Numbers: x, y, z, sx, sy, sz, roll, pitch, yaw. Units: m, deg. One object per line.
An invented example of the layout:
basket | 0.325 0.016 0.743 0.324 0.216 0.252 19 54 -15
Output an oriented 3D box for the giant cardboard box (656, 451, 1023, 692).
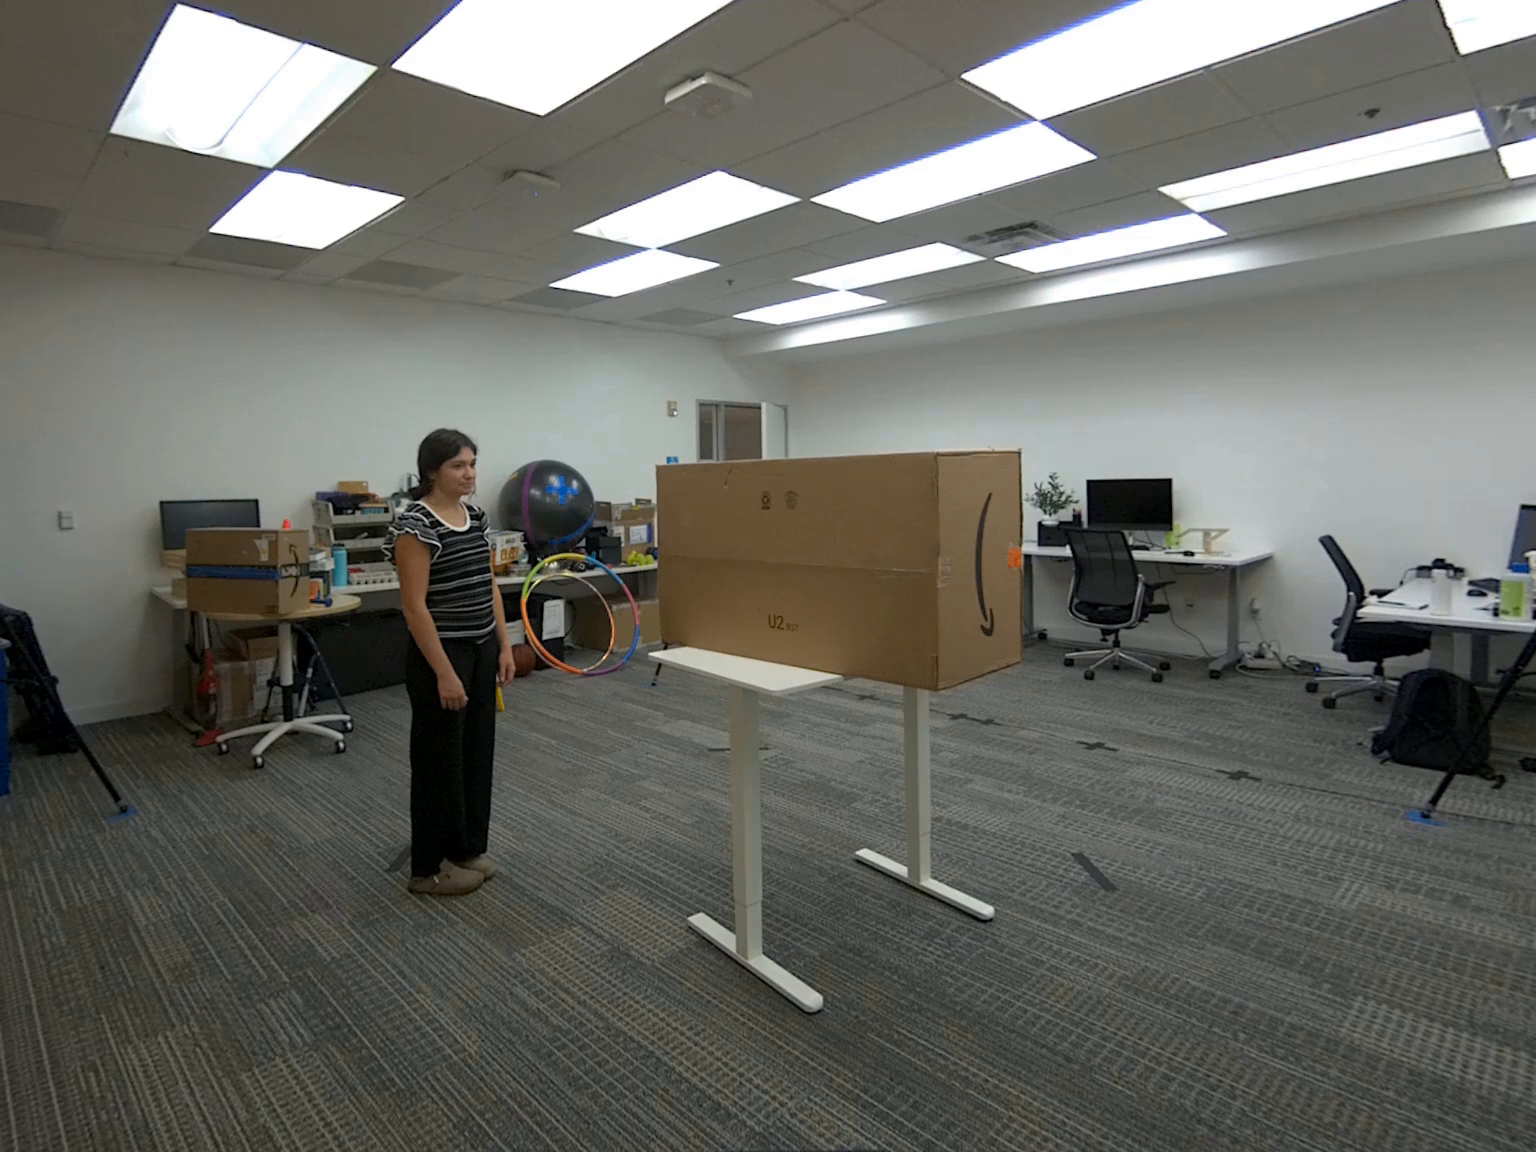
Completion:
giant cardboard box | 0.173 -0.061 2.515 1.057 0.575 0.415 4 7 45
